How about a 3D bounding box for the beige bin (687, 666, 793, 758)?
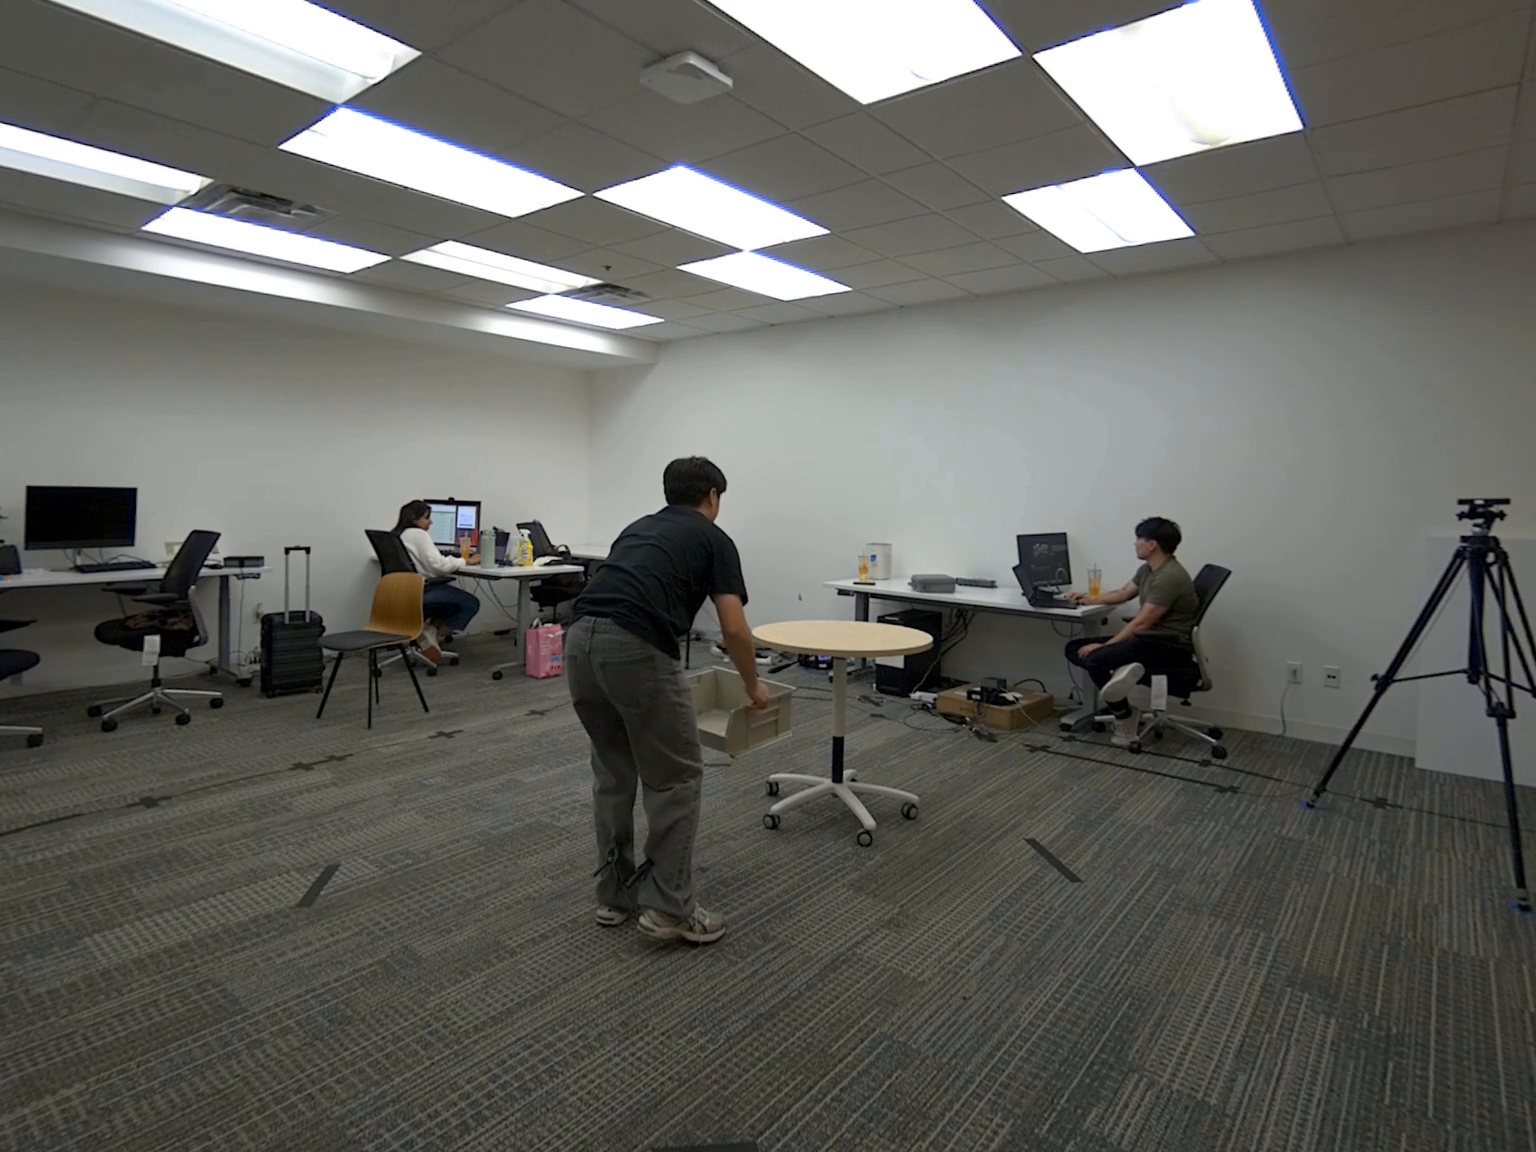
[{"bbox_3d":[-0.185,0.494,3.104,0.437,0.188,0.366,7,9,40],"label":"beige bin"}]
